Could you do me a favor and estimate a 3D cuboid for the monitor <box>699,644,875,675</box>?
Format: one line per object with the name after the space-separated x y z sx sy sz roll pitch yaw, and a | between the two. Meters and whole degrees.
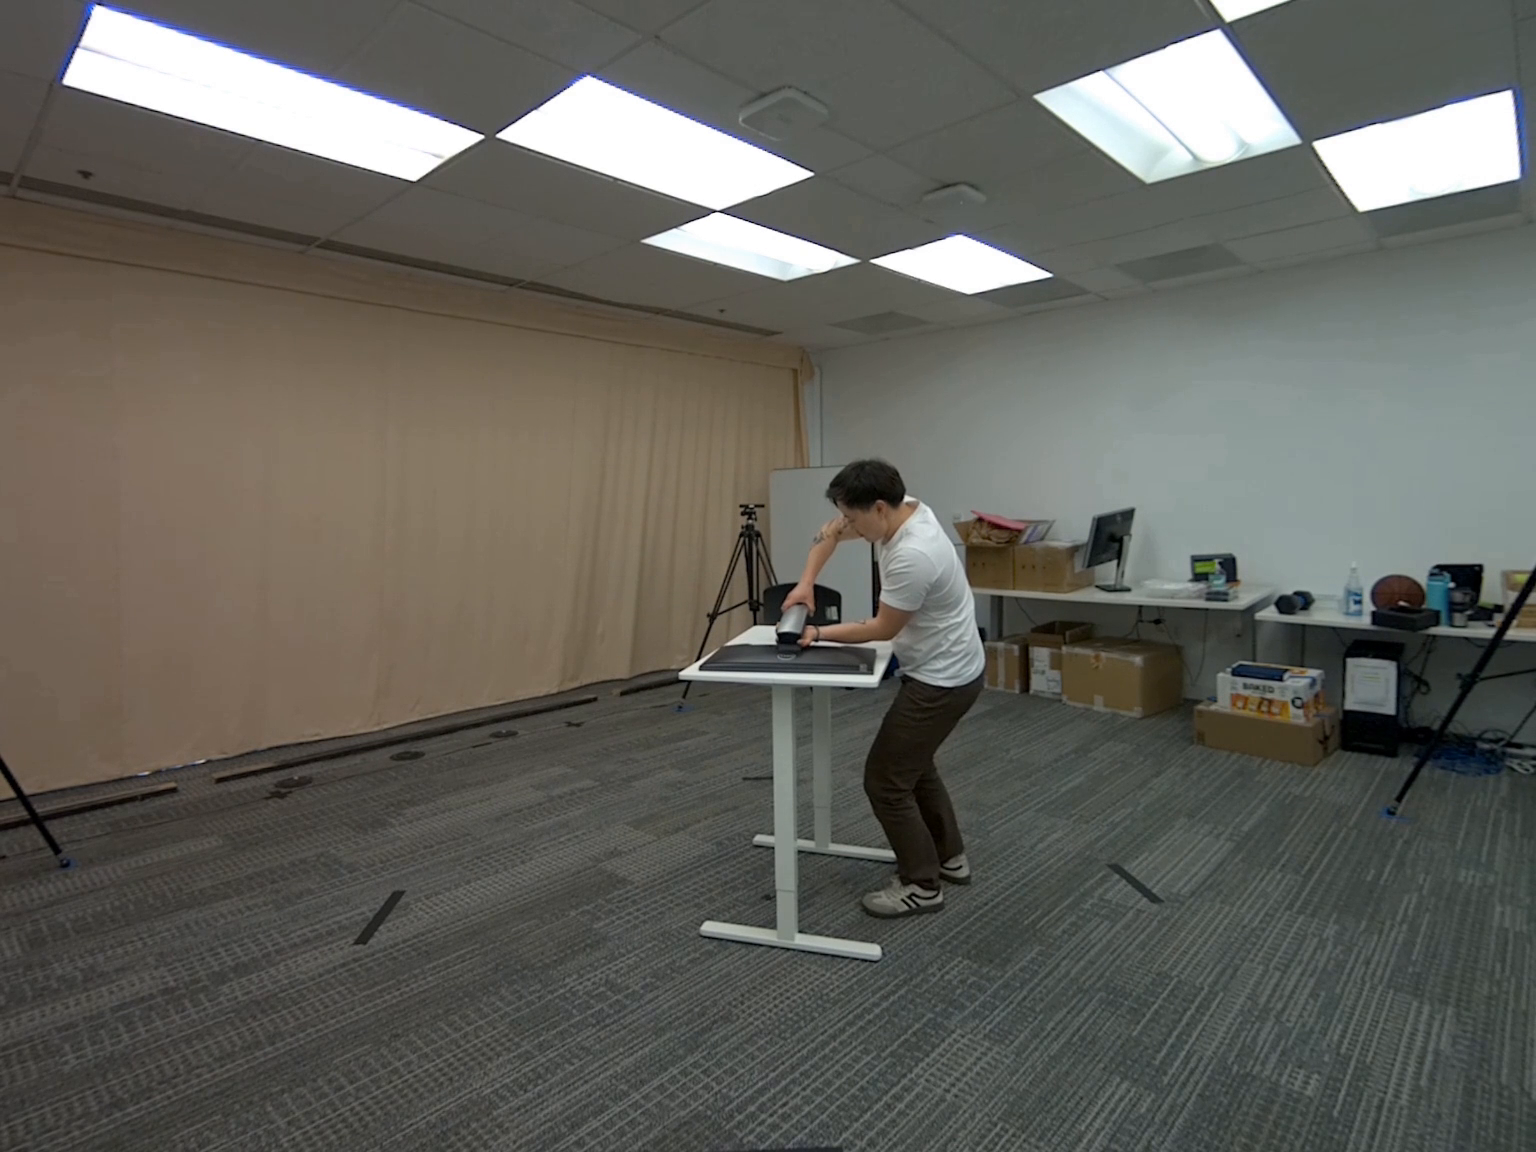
0.095 0.210 2.801 0.547 0.184 0.523 -1 23 12 | monitor
